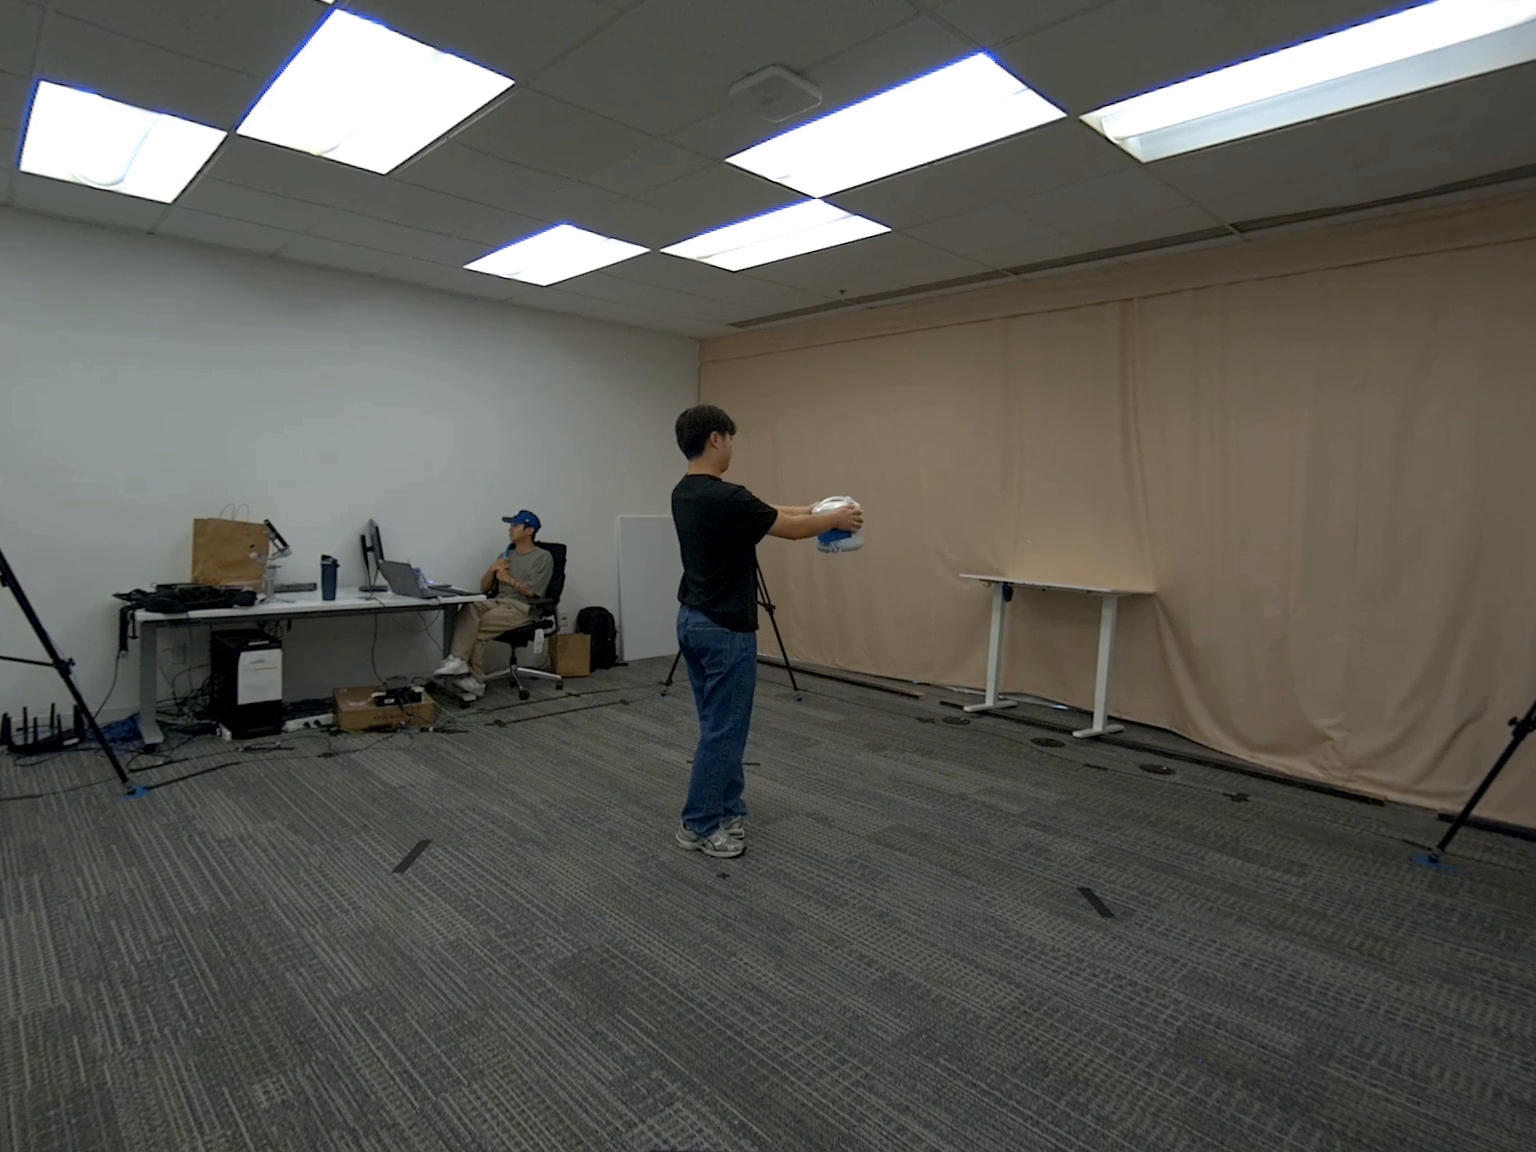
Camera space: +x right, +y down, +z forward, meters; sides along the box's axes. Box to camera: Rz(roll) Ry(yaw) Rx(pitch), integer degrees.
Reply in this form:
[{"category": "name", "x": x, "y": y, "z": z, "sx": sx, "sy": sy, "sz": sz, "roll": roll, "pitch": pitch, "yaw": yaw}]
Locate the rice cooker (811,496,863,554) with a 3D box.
[{"category": "rice cooker", "x": 0.280, "y": -0.226, "z": 3.576, "sx": 0.217, "sy": 0.231, "sz": 0.222, "roll": -6, "pitch": 8, "yaw": -24}]
